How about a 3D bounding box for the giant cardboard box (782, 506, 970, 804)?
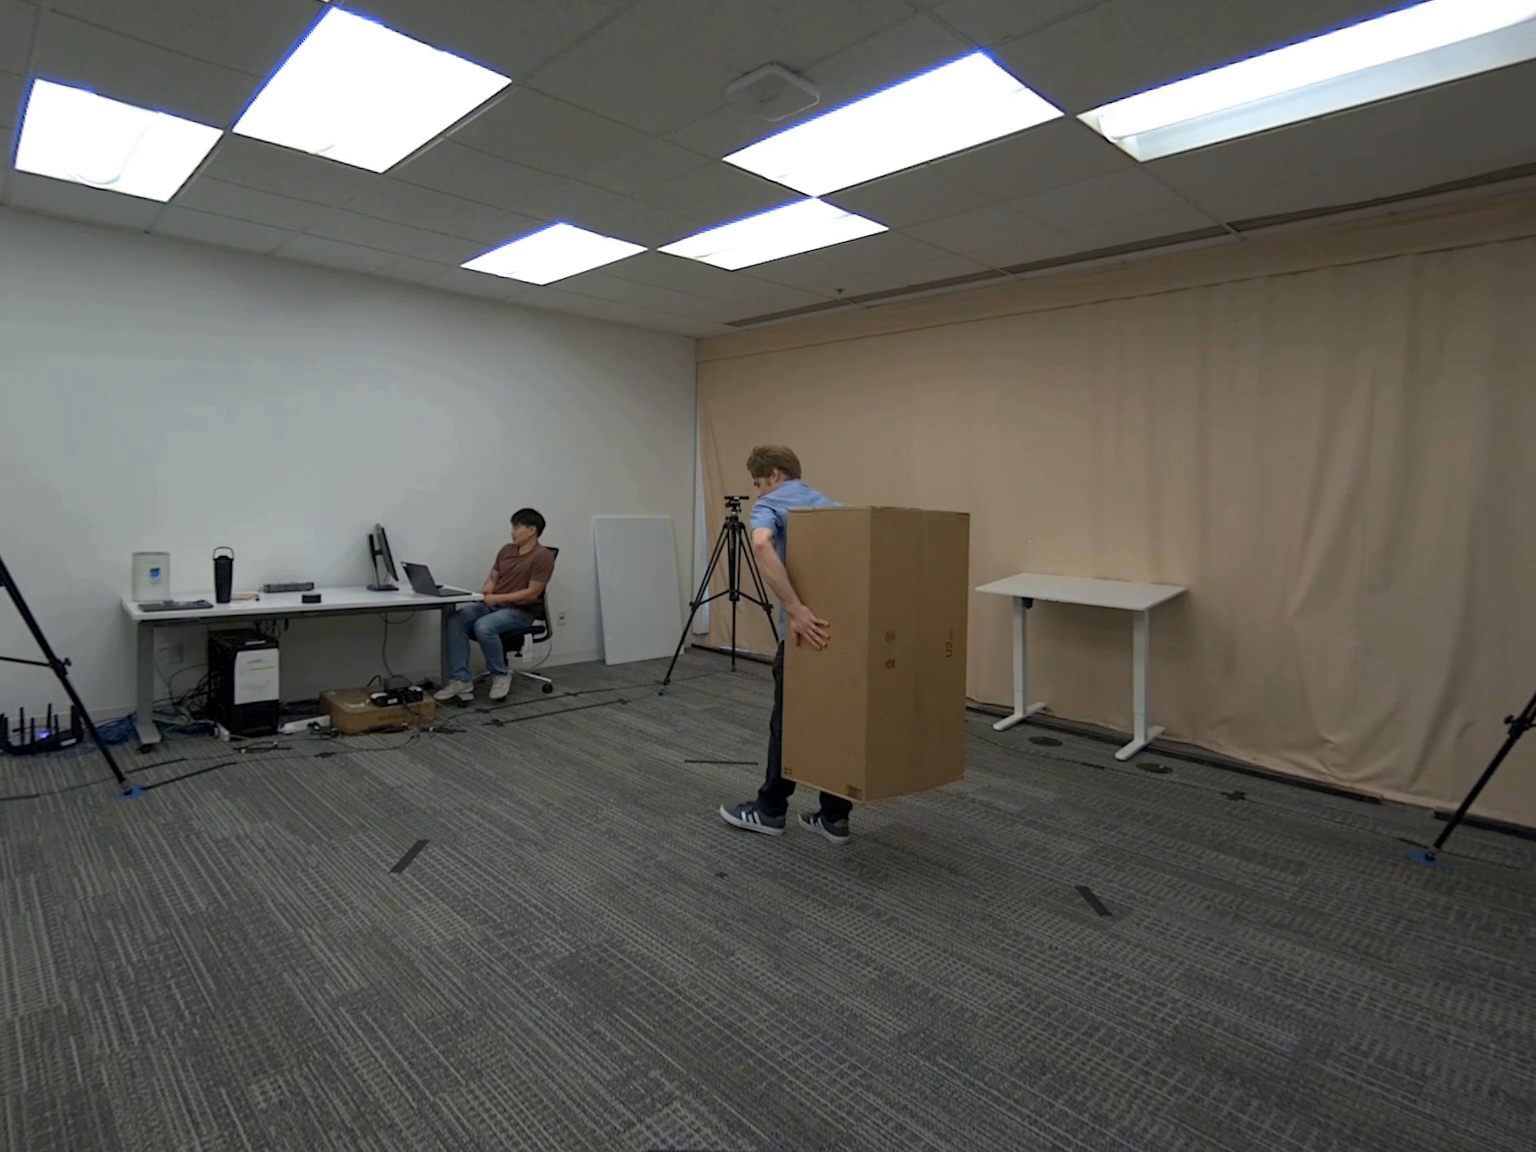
[{"bbox_3d":[0.408,0.269,3.190,0.570,1.026,0.458,1,2,-41],"label":"giant cardboard box"}]
